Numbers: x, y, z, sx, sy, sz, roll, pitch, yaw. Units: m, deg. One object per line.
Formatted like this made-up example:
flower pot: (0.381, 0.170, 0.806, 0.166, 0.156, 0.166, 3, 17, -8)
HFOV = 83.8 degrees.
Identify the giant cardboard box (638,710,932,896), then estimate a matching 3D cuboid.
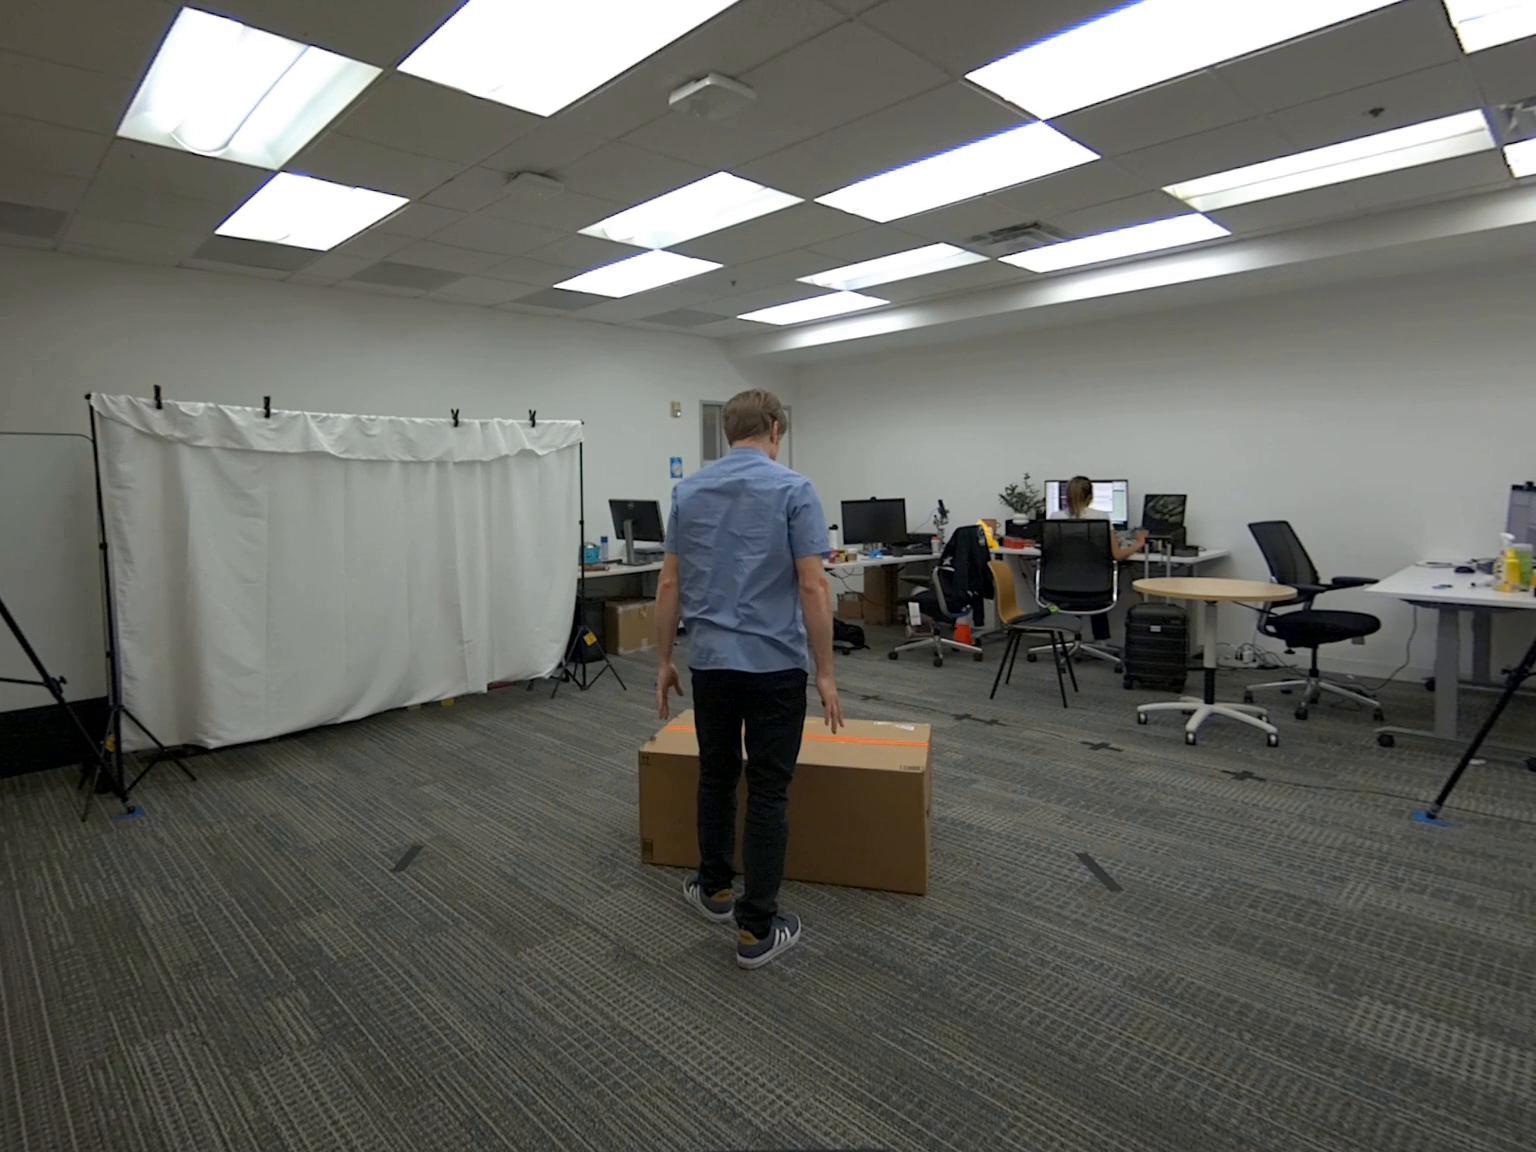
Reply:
giant cardboard box: (0.086, 0.813, 3.244, 1.043, 0.444, 0.578, 1, 7, 15)
